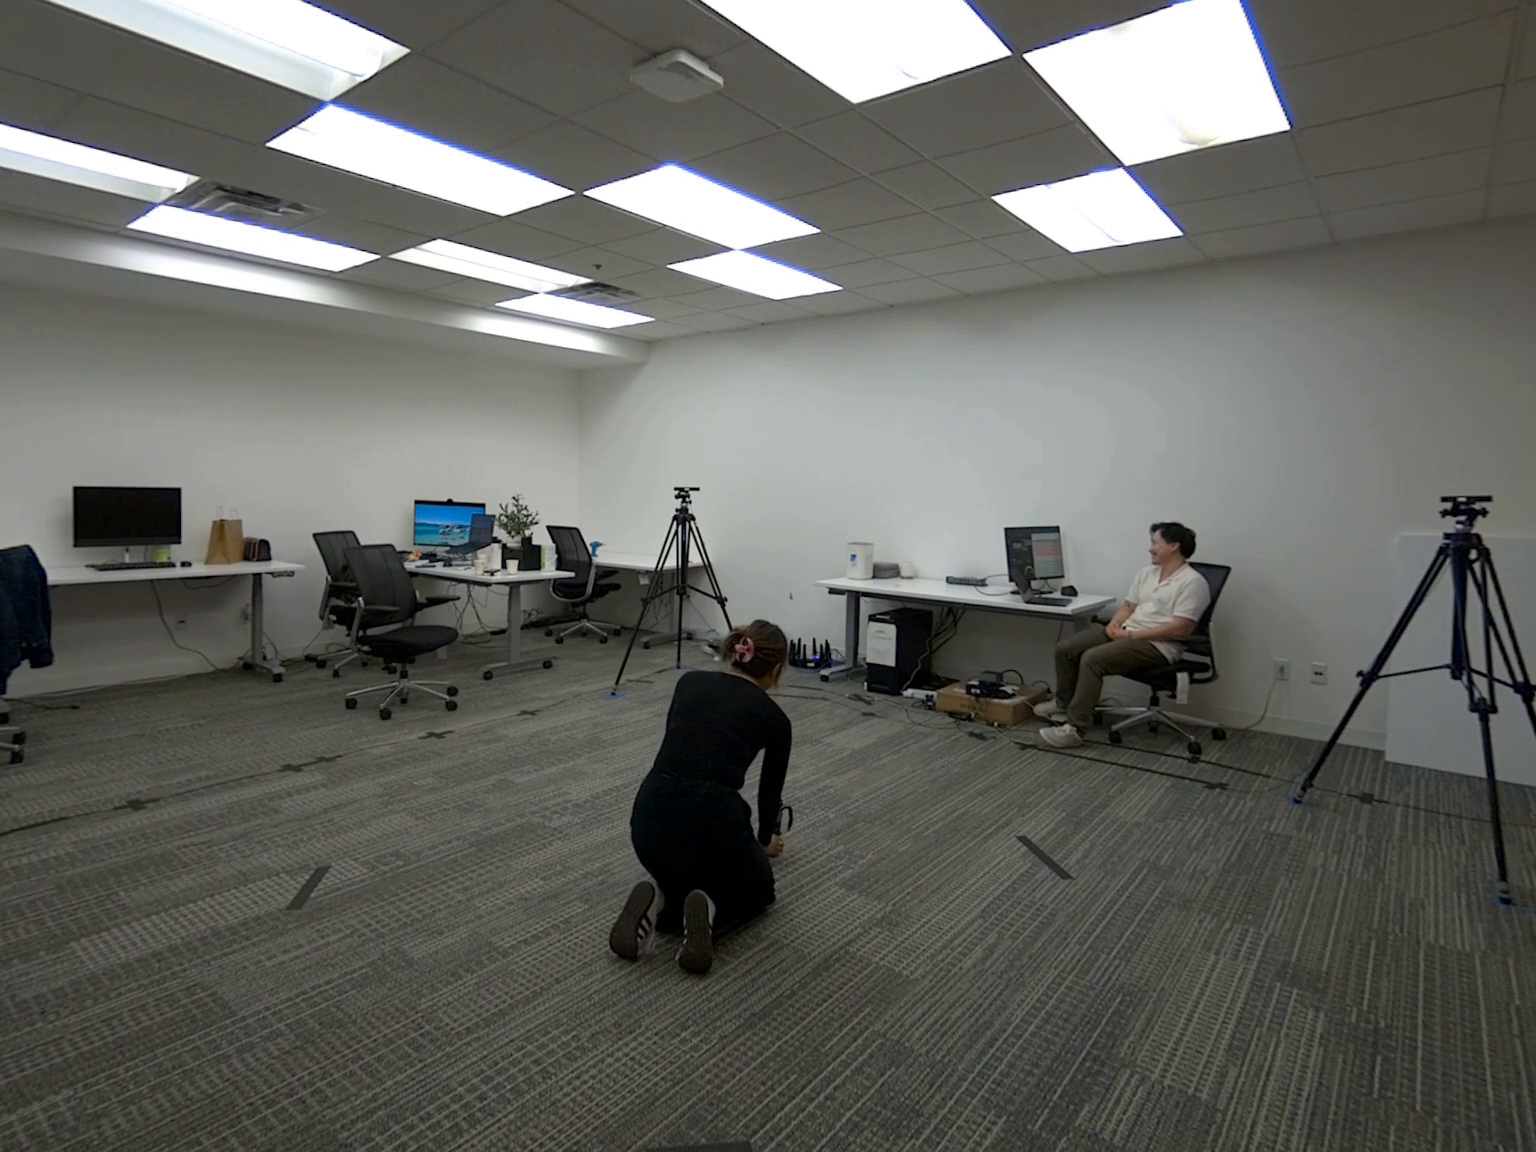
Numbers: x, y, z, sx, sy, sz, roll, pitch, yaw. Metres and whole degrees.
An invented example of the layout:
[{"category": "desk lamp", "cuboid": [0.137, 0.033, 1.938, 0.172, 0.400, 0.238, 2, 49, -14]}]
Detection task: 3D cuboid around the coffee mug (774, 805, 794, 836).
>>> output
[{"category": "coffee mug", "cuboid": [0.026, 0.956, 3.234, 0.124, 0.203, 0.086, 0, -1, 19]}]
